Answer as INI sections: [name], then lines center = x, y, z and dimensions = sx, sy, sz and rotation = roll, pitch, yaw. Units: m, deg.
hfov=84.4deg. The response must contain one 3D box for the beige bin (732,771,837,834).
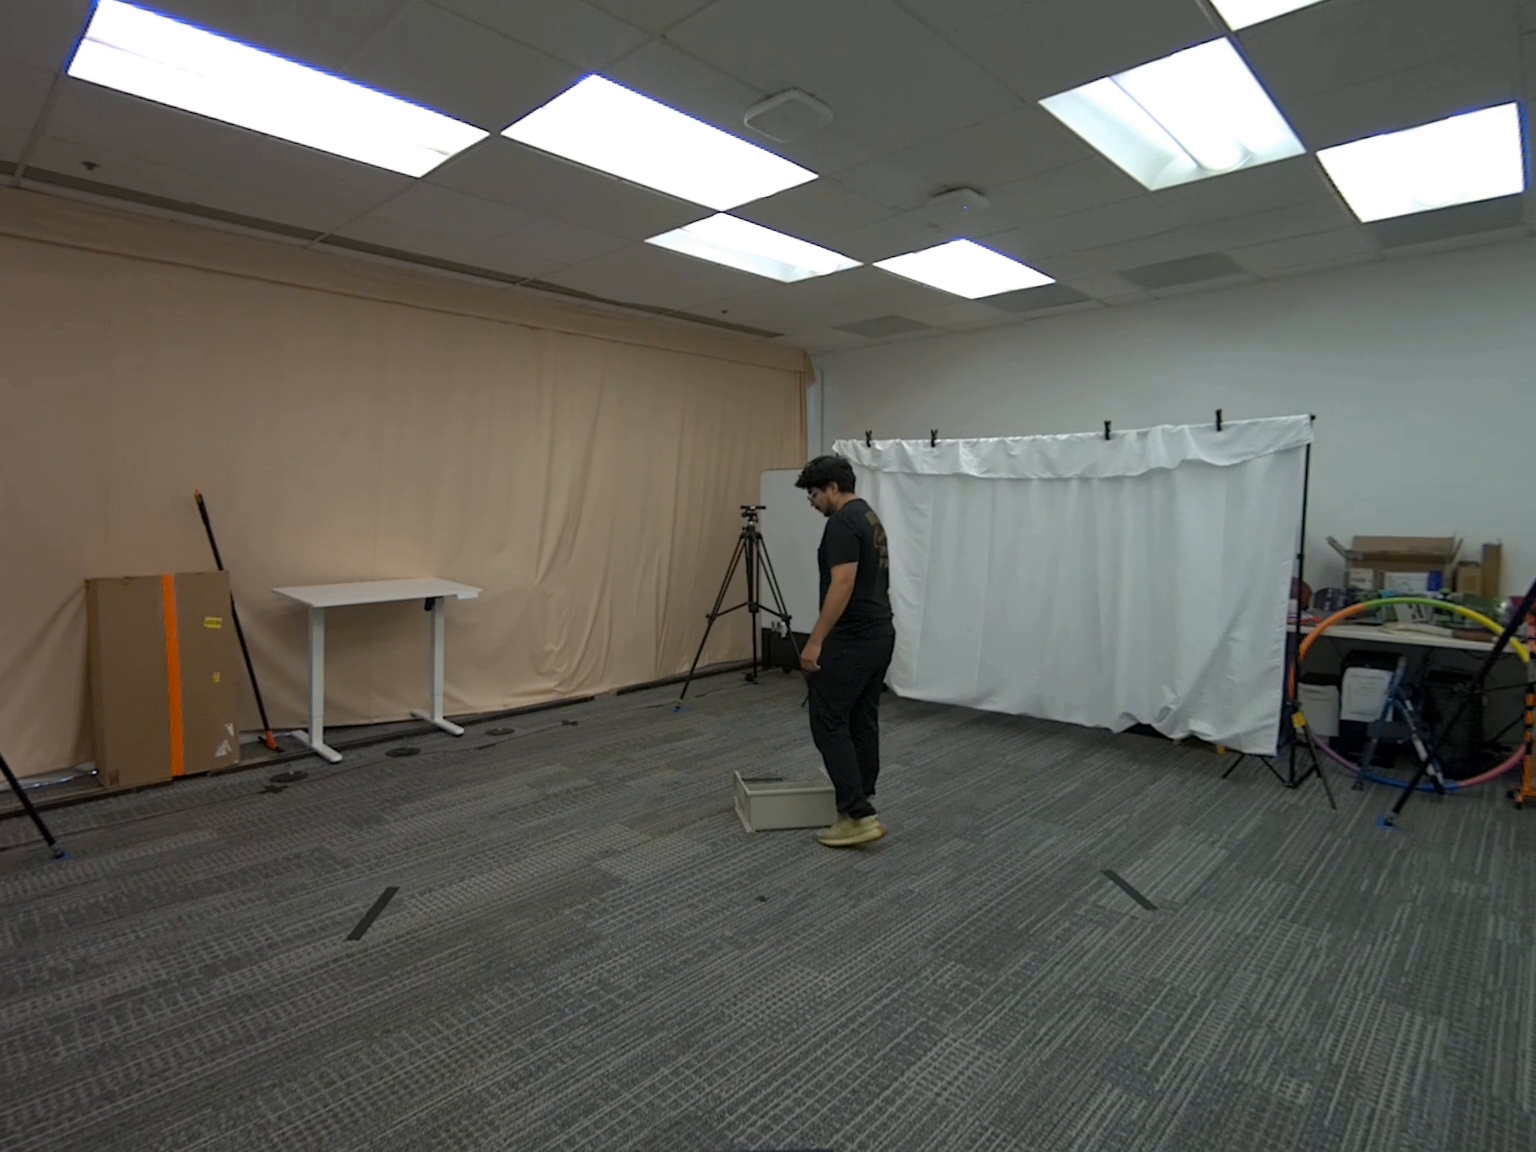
[beige bin]
center = 0.079, 0.989, 3.786
dimensions = 0.418, 0.188, 0.382
rotation = 0, 5, -10
